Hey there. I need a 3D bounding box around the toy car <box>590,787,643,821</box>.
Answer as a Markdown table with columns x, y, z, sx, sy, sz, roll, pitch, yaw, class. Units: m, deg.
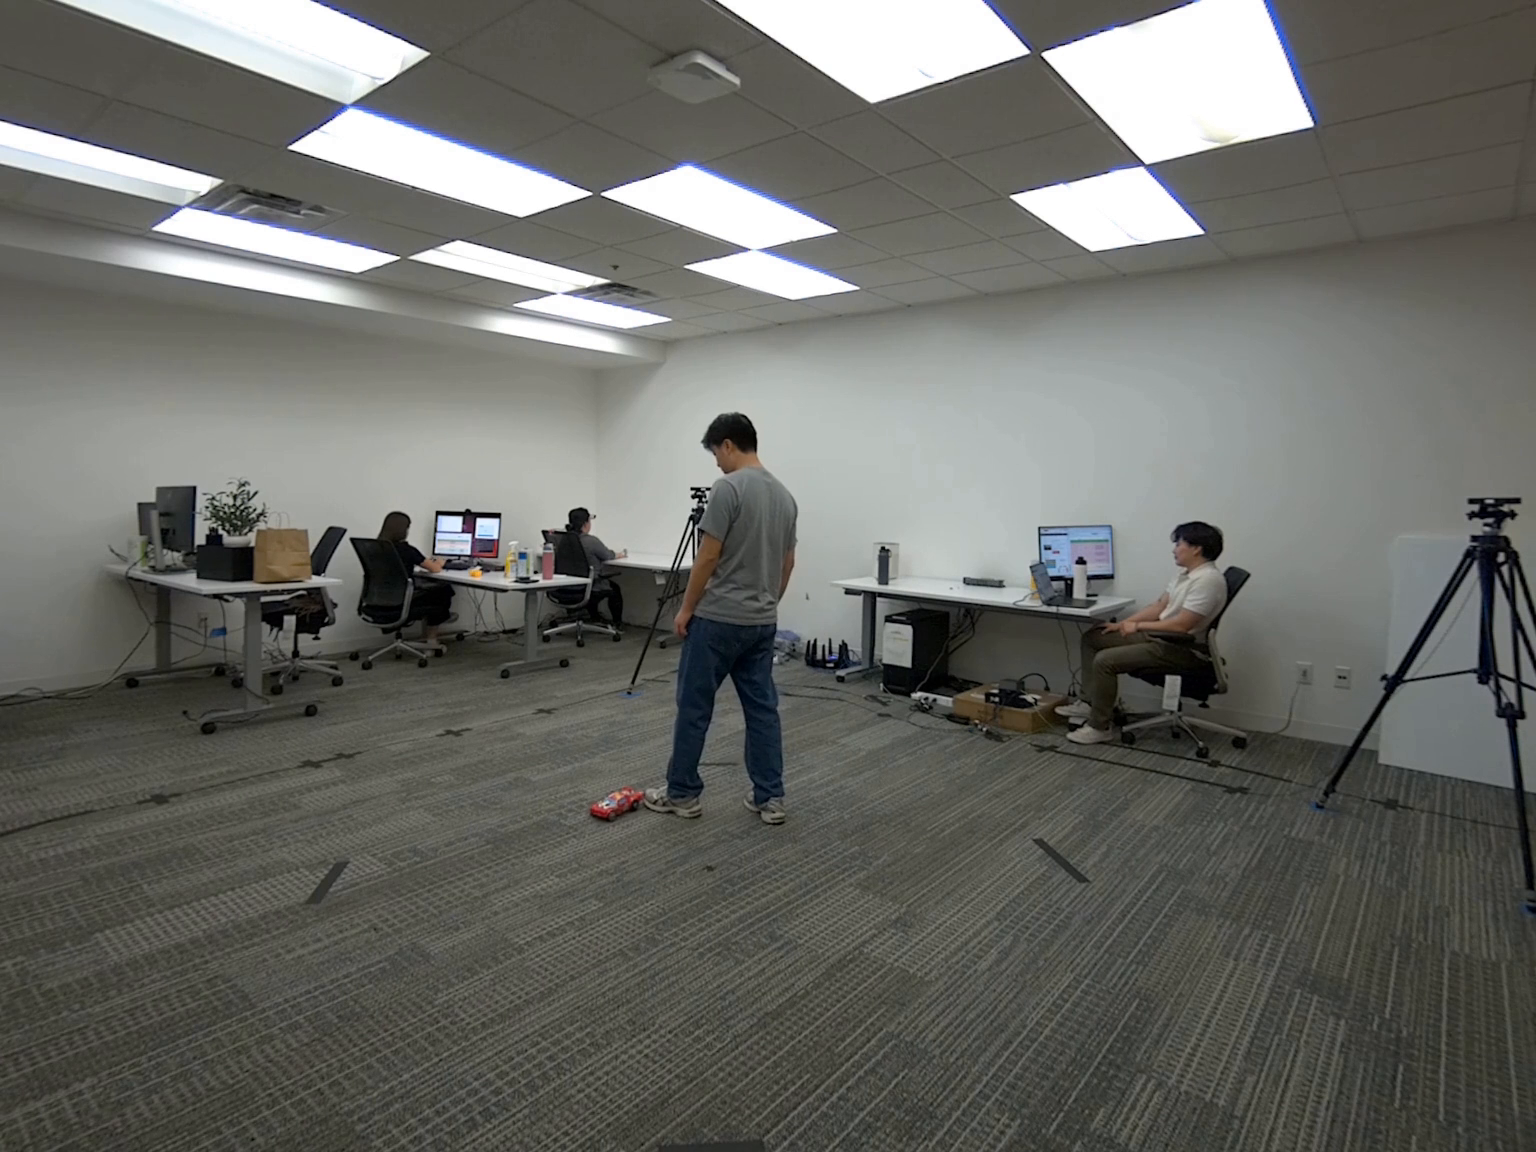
| x | y | z | sx | sy | sz | roll | pitch | yaw | class |
| --- | --- | --- | --- | --- | --- | --- | --- | --- | --- |
| -0.648 | 0.973 | 3.651 | 0.134 | 0.082 | 0.250 | 2 | 16 | 33 | toy car |
